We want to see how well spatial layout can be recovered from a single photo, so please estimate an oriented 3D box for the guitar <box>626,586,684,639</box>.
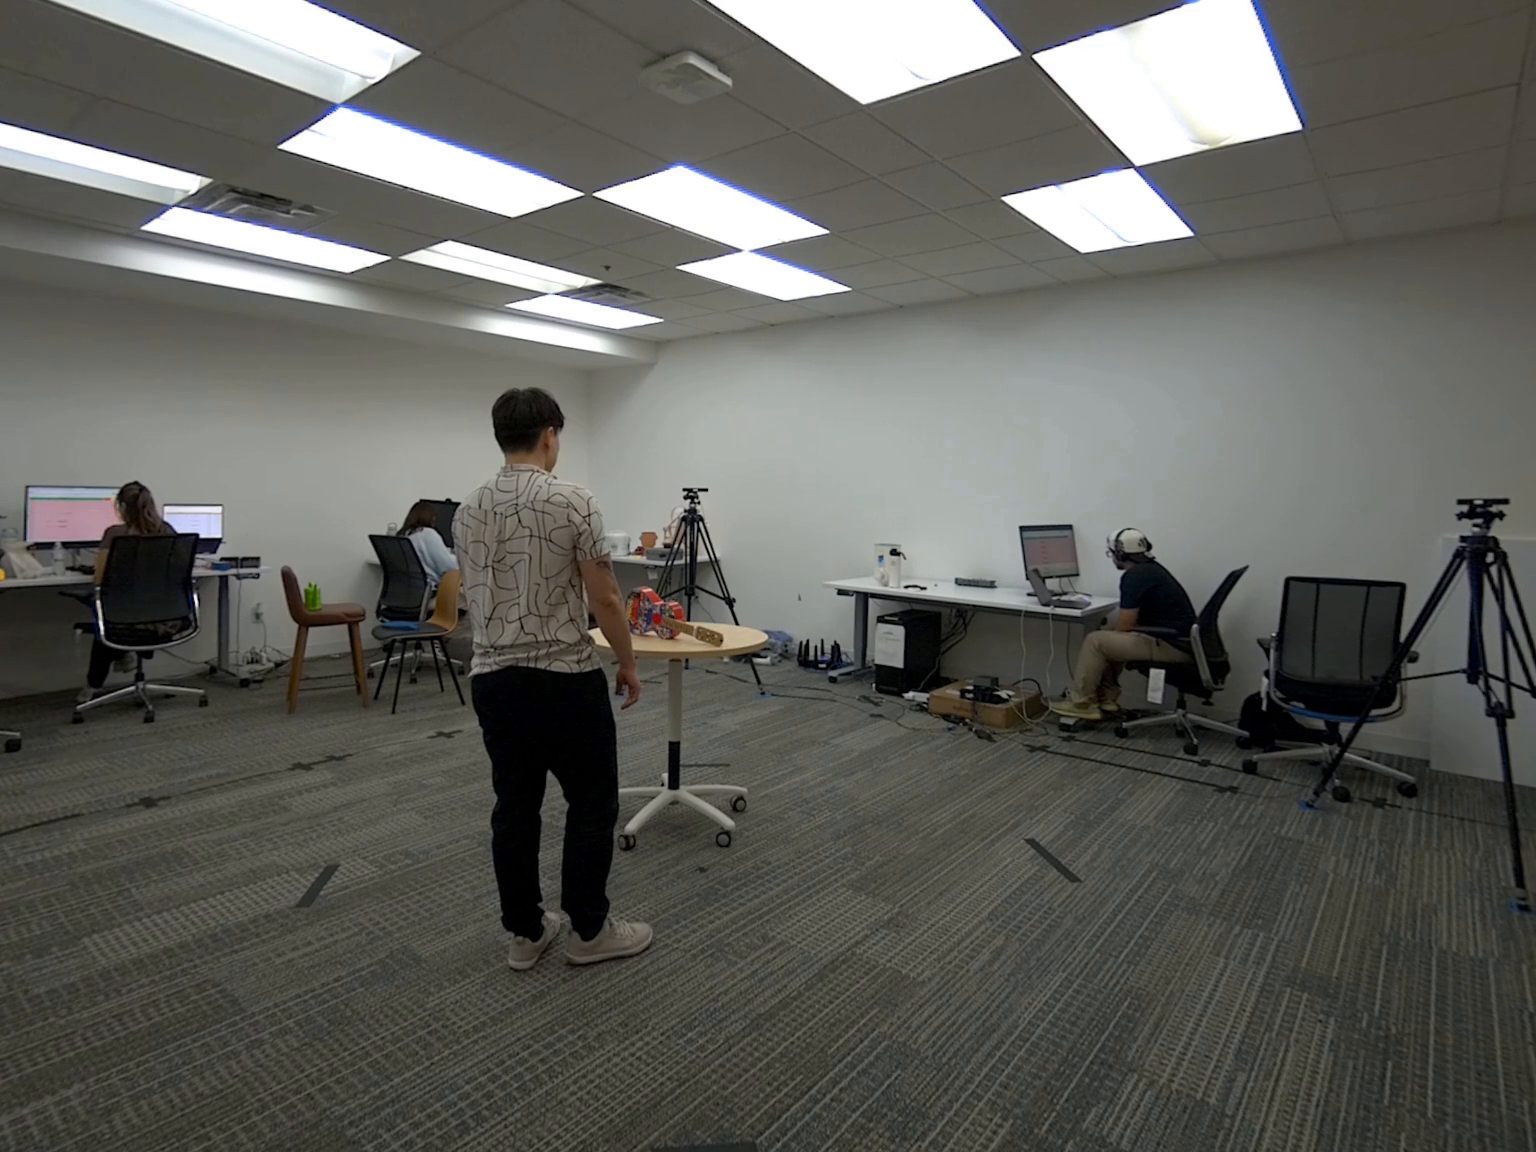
[{"bbox_3d":[-0.393,0.211,3.416,0.516,0.191,0.069,25,15,30],"label":"guitar"}]
